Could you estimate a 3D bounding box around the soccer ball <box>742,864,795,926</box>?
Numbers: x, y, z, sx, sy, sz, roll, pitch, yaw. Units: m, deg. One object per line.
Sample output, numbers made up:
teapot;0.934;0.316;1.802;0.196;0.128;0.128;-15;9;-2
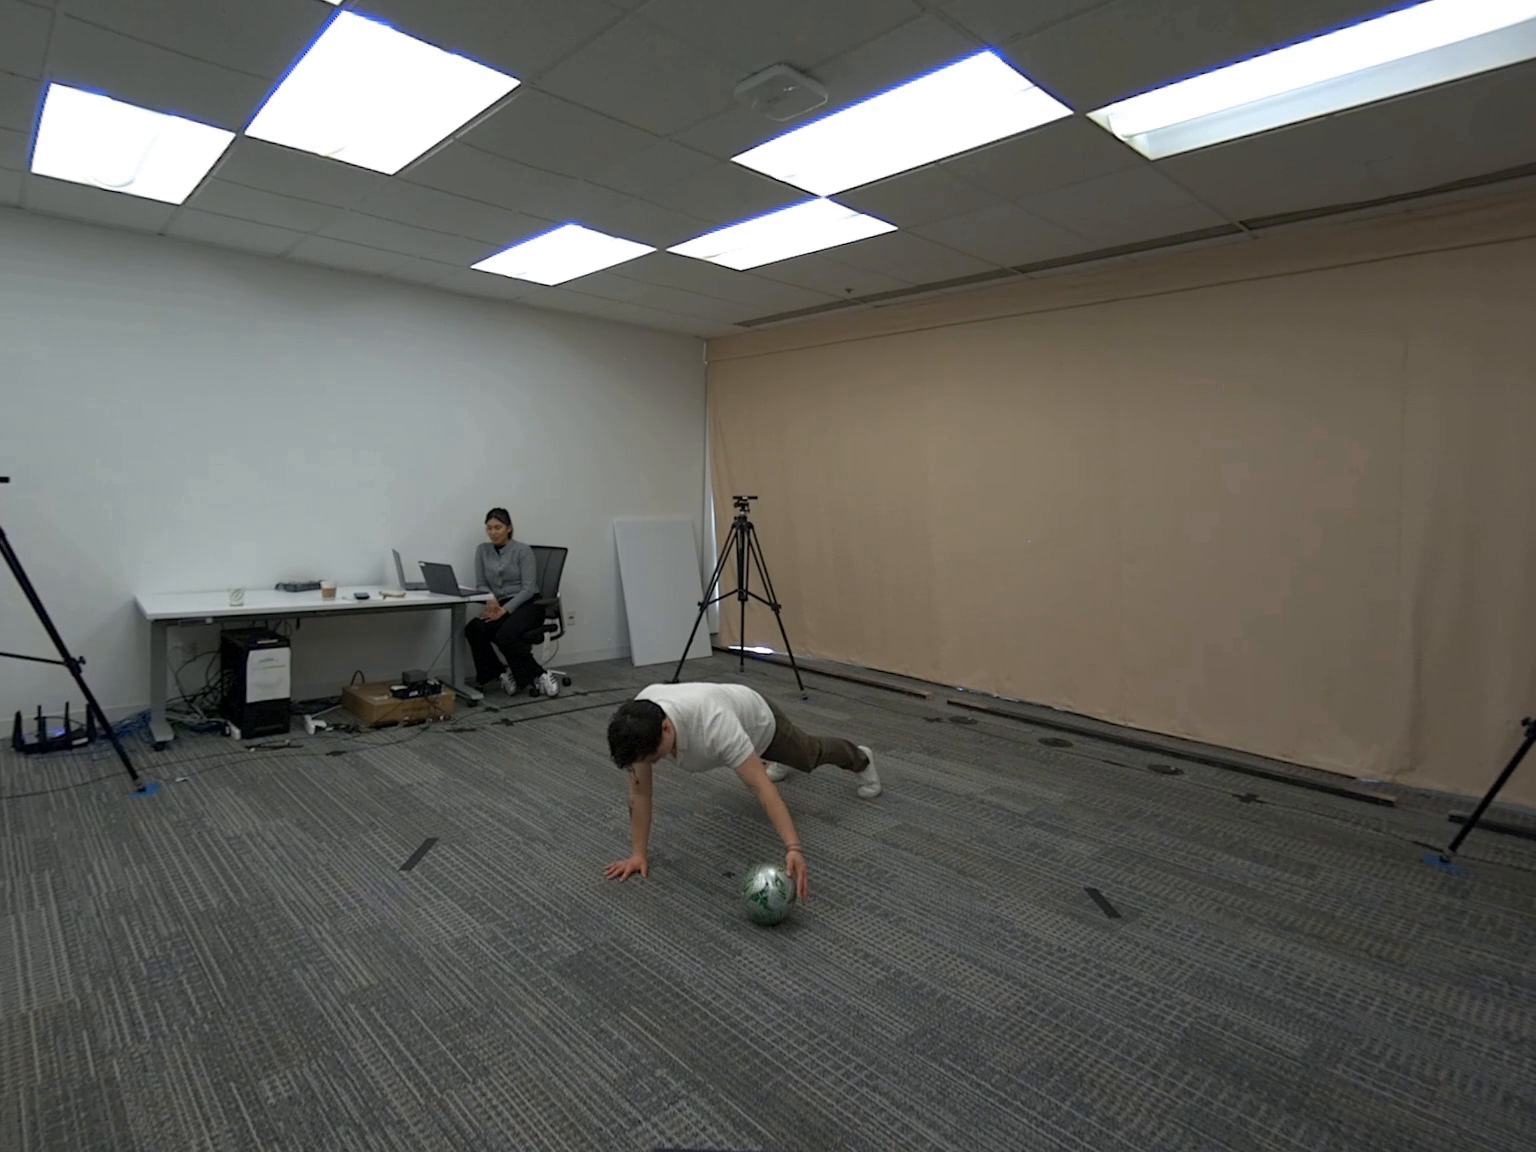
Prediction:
soccer ball;-0.034;1.039;2.772;0.187;0.187;0.188;1;4;-1
